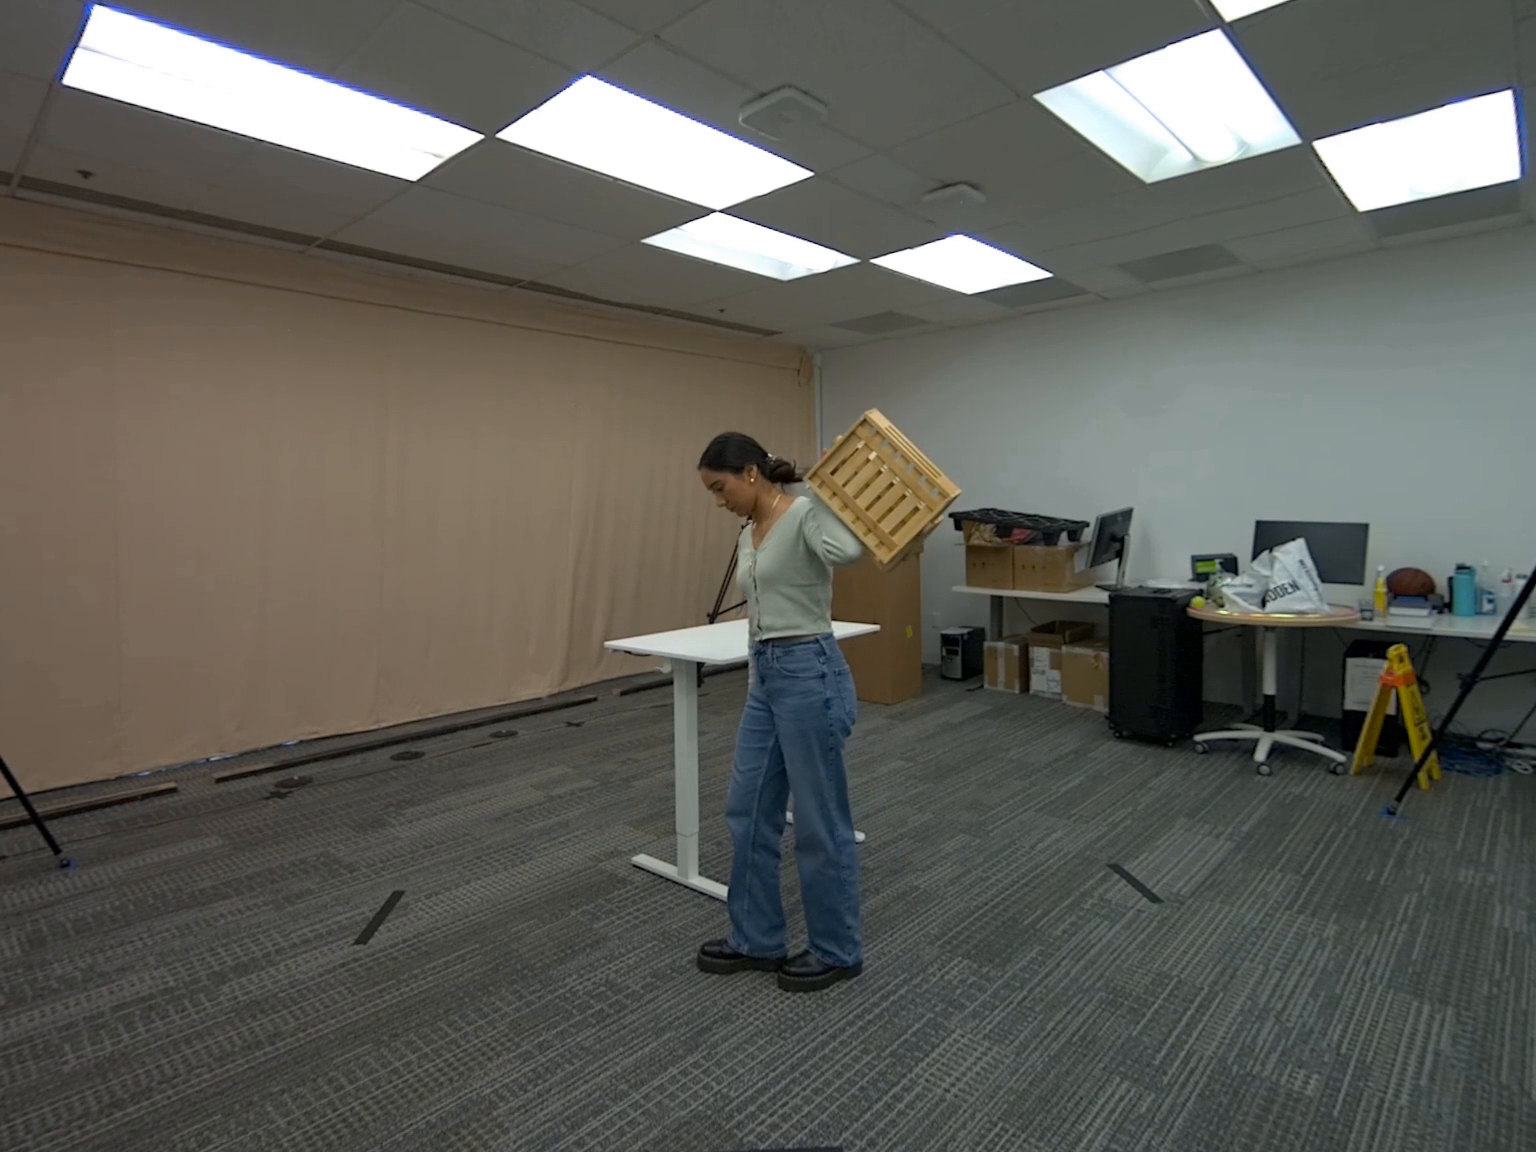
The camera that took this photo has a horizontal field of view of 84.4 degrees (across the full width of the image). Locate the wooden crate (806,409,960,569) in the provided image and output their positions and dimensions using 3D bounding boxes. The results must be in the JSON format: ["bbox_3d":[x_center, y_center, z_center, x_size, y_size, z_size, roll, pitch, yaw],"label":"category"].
[{"bbox_3d":[0.304,-0.217,2.193,0.303,0.330,0.267,-46,-14,17],"label":"wooden crate"}]
